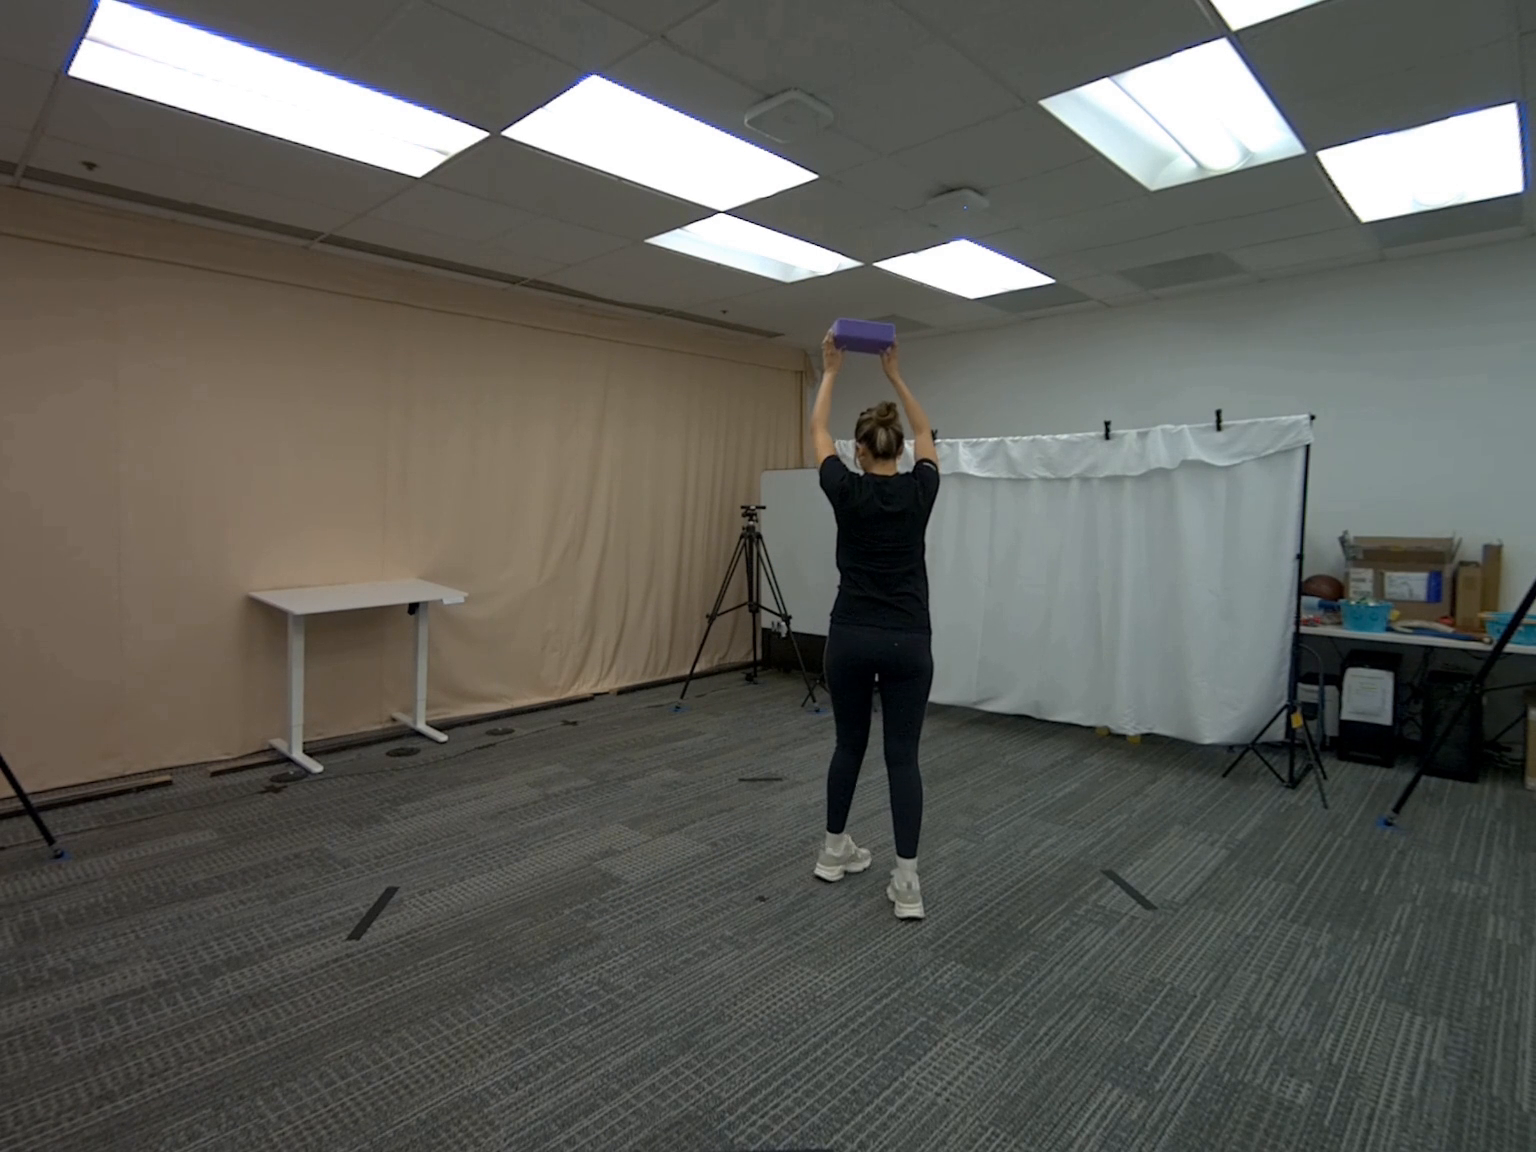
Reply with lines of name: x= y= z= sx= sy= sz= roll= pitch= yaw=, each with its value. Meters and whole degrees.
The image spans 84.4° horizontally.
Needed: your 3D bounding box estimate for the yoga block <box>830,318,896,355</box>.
yoga block: x=0.359 y=-0.926 z=3.233 sx=0.228 sy=0.076 sz=0.149 roll=5 pitch=-5 yaw=-6
